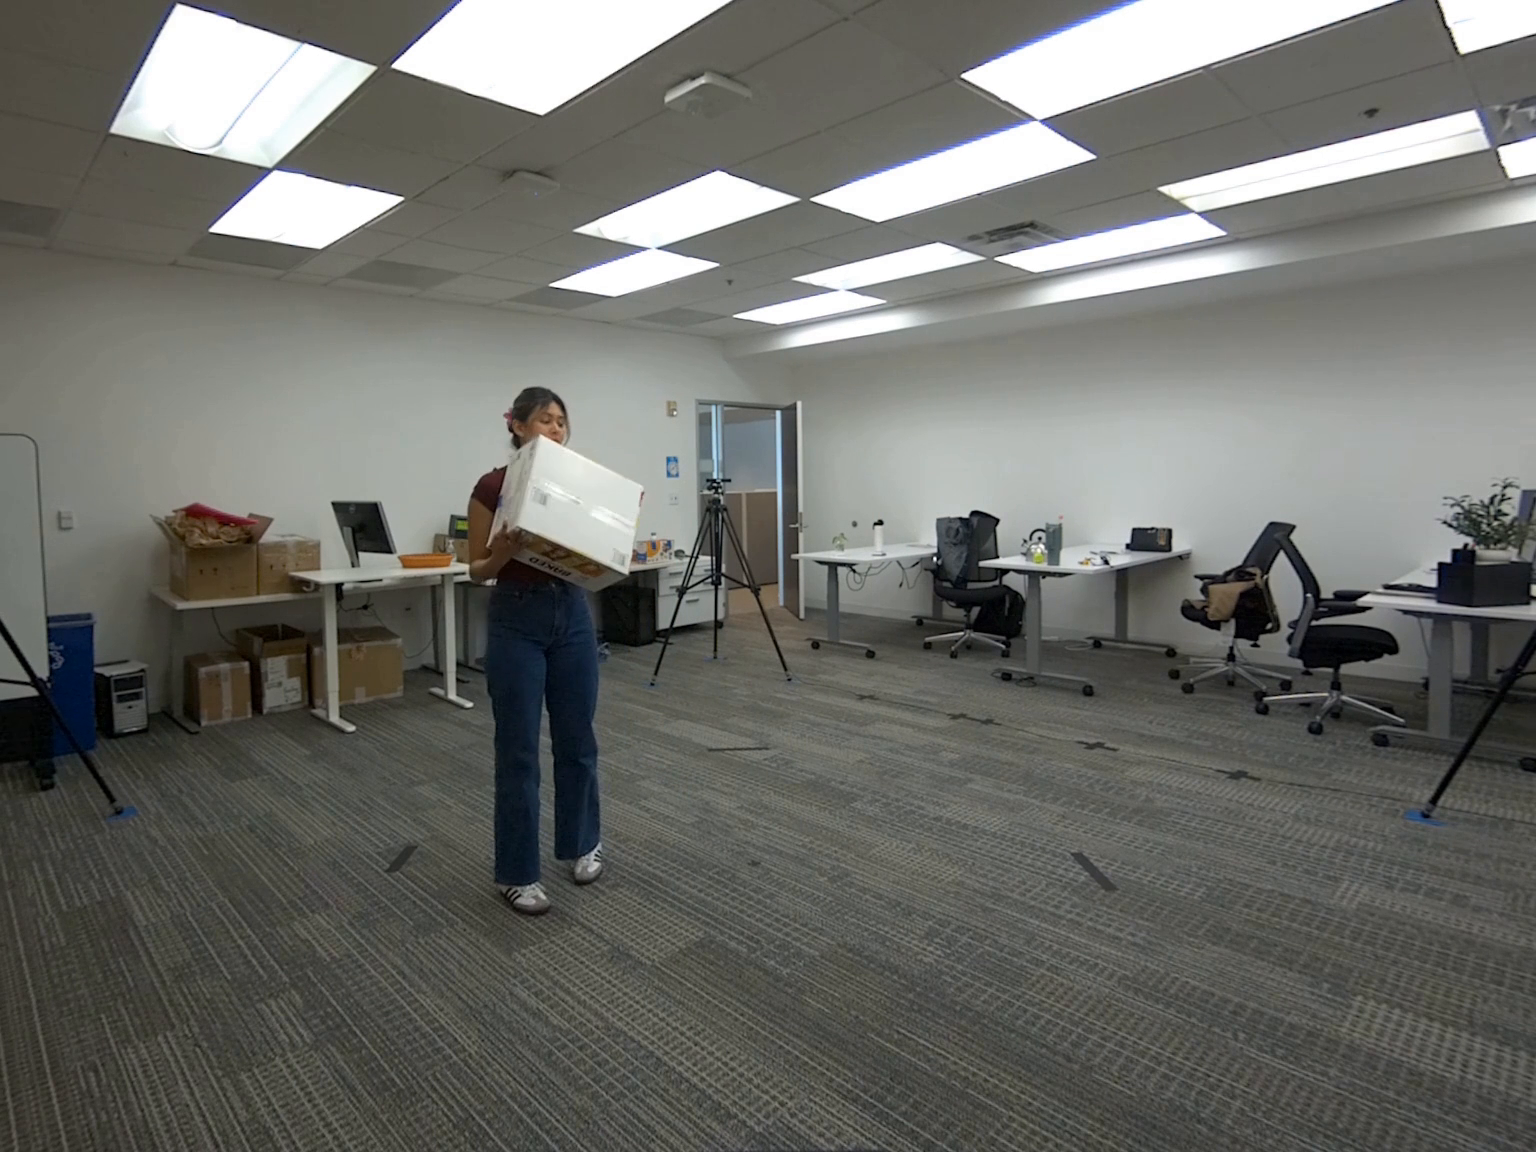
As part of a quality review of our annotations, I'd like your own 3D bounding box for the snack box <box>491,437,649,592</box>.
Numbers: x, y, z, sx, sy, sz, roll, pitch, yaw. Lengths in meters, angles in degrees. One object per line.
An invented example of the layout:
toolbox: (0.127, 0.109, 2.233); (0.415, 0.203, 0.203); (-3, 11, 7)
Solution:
snack box: (-0.634, -0.201, 2.765); (0.391, 0.347, 0.208); (26, -34, -32)
